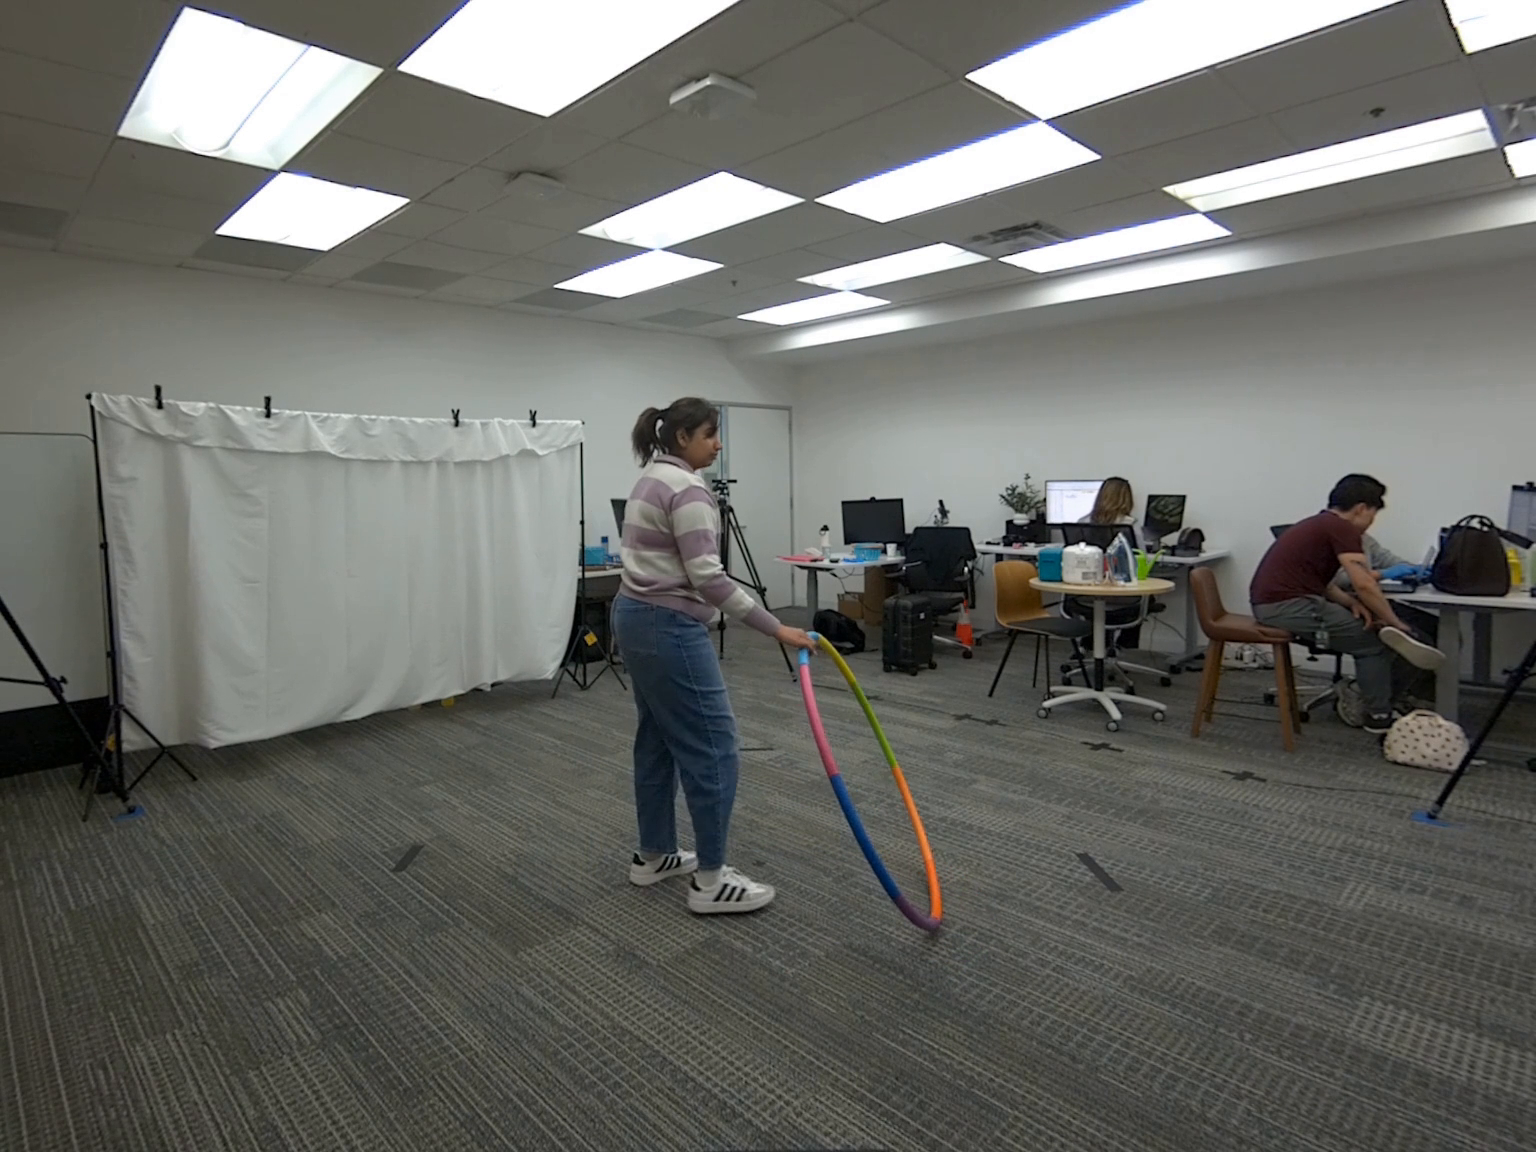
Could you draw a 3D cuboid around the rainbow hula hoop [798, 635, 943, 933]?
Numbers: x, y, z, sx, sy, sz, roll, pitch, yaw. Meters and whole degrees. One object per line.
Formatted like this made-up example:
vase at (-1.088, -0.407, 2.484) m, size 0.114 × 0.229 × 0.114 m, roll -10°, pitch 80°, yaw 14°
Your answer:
rainbow hula hoop at (0.338, 0.635, 2.782) m, size 0.052 × 0.988 × 0.978 m, roll -27°, pitch -1°, yaw 12°
